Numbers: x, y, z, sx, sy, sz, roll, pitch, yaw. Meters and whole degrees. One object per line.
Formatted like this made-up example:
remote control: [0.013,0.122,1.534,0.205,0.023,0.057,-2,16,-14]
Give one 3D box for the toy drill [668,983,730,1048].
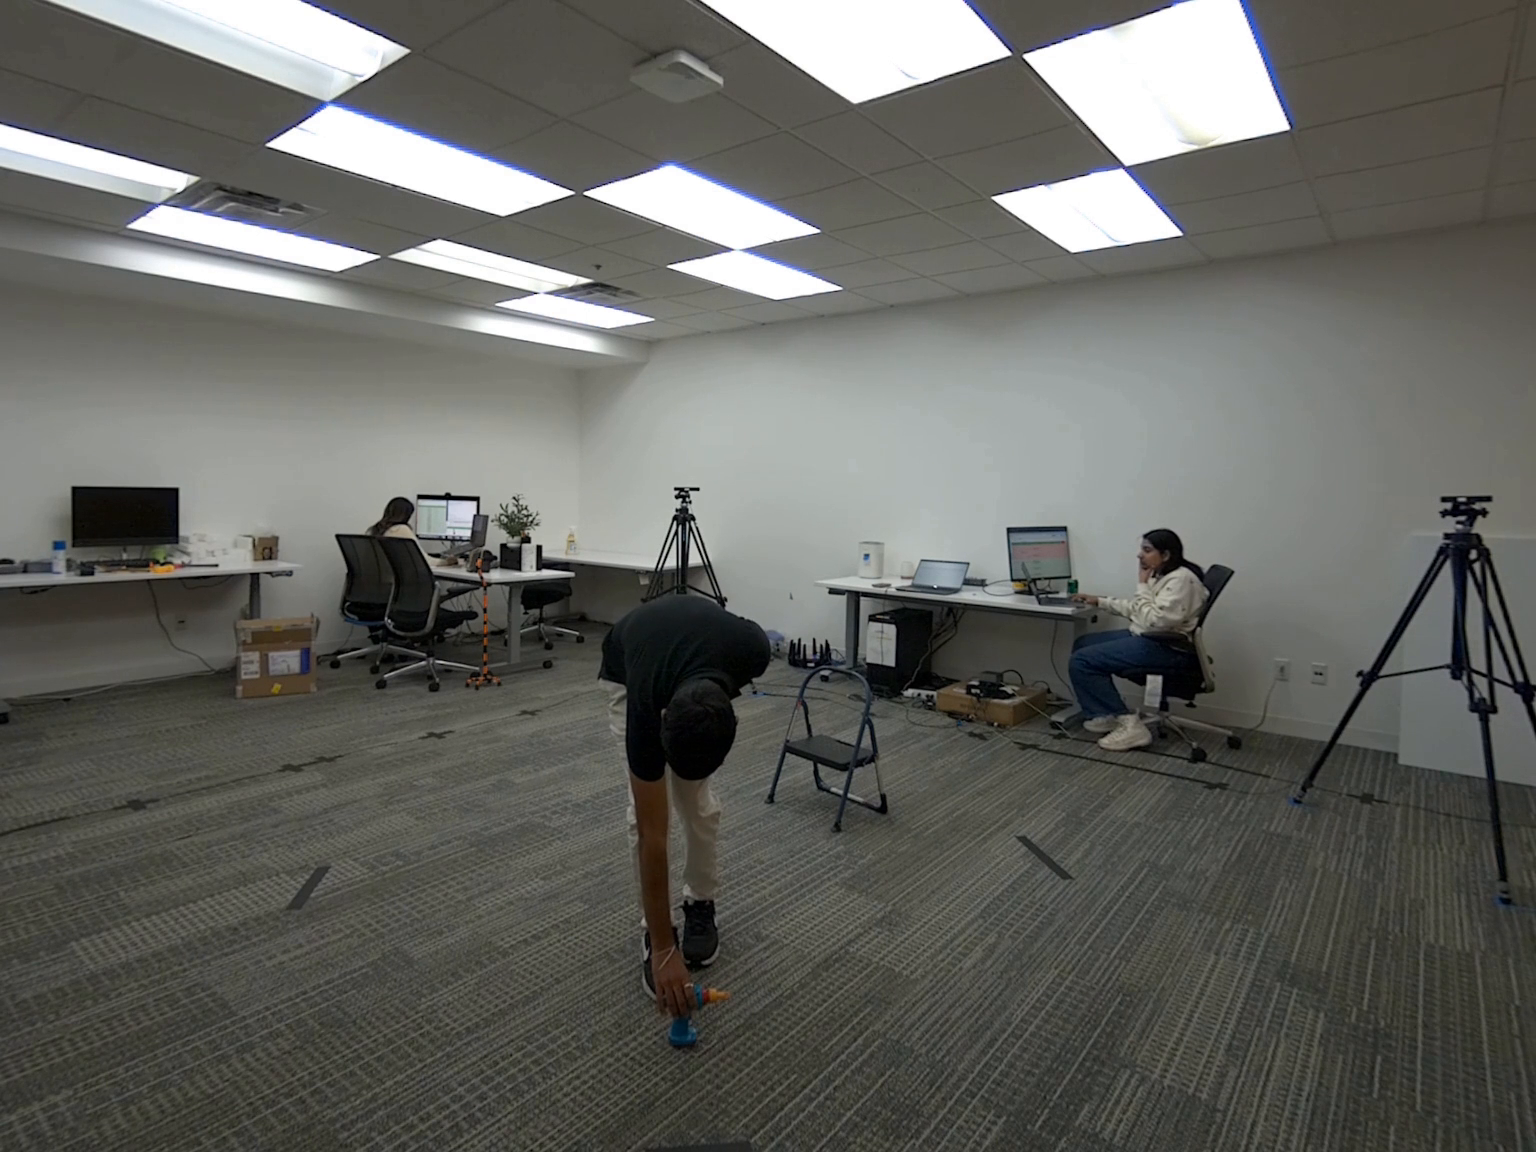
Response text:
toy drill: [-0.185,1.089,2.115,0.169,0.145,0.062,-3,8,-4]
